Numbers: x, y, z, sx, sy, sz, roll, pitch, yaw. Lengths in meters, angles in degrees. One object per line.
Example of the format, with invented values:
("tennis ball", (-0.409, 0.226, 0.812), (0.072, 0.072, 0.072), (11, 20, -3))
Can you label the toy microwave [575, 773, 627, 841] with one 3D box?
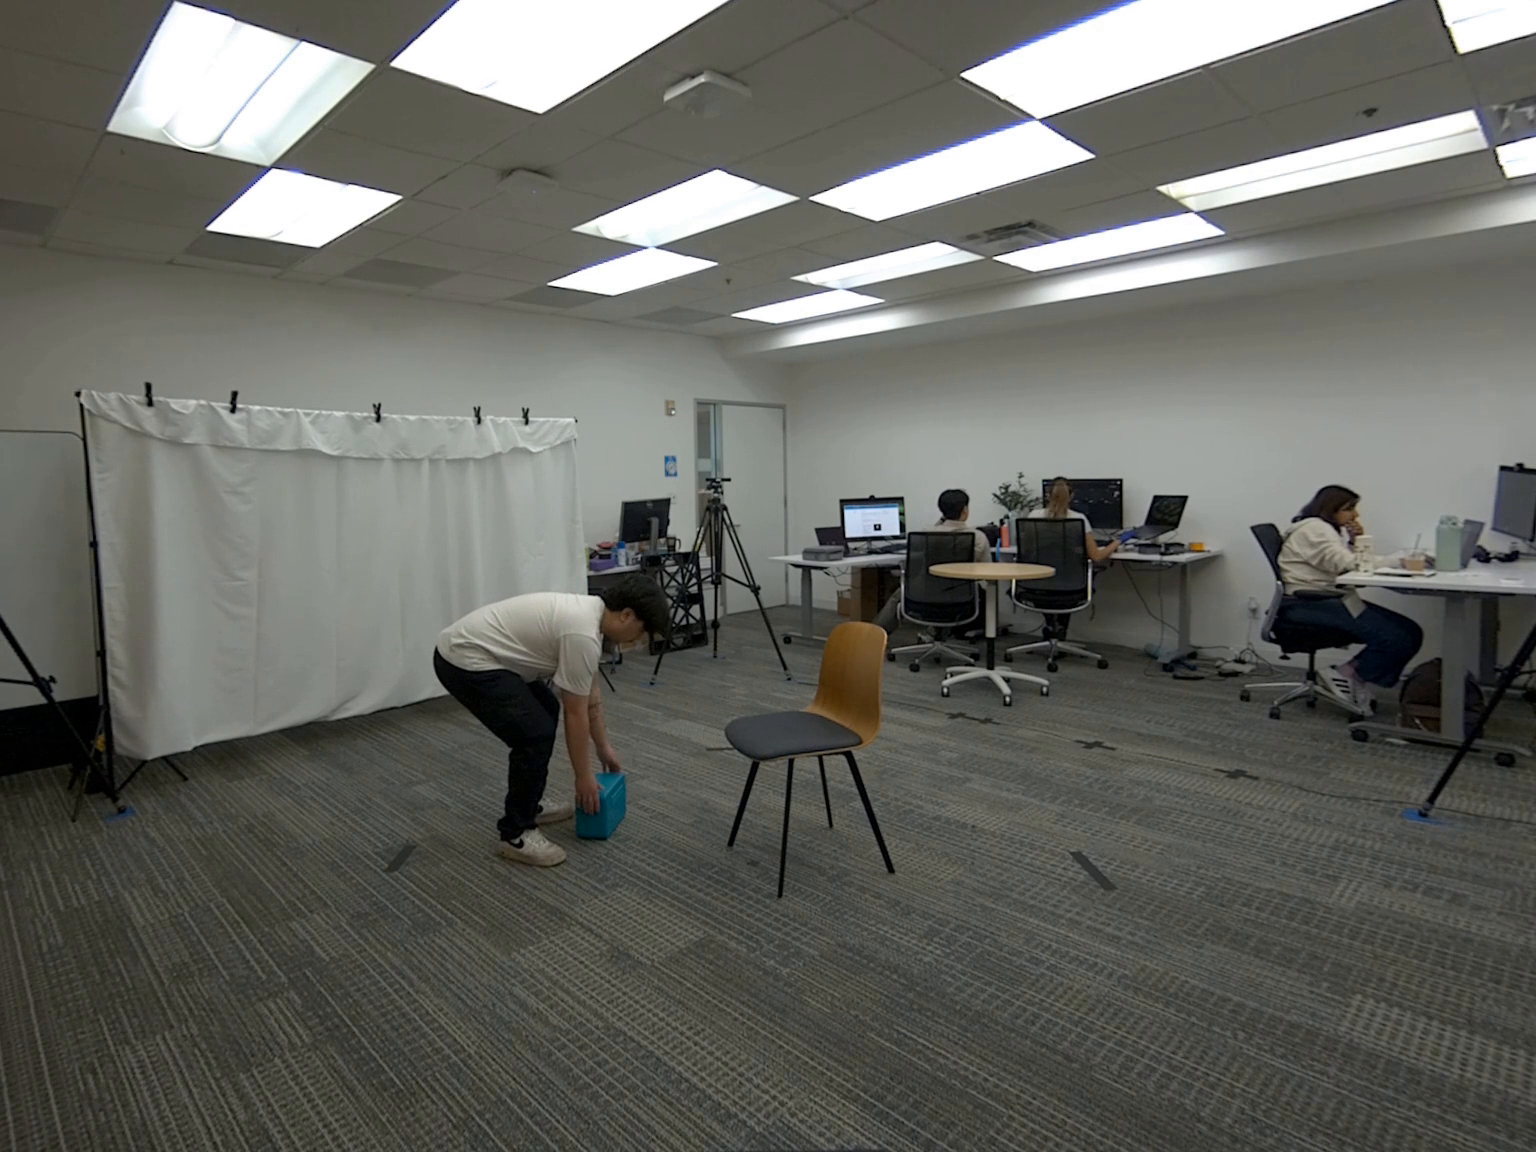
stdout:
("toy microwave", (-0.677, 0.923, 3.450), (0.154, 0.183, 0.285), (2, 6, 7))
